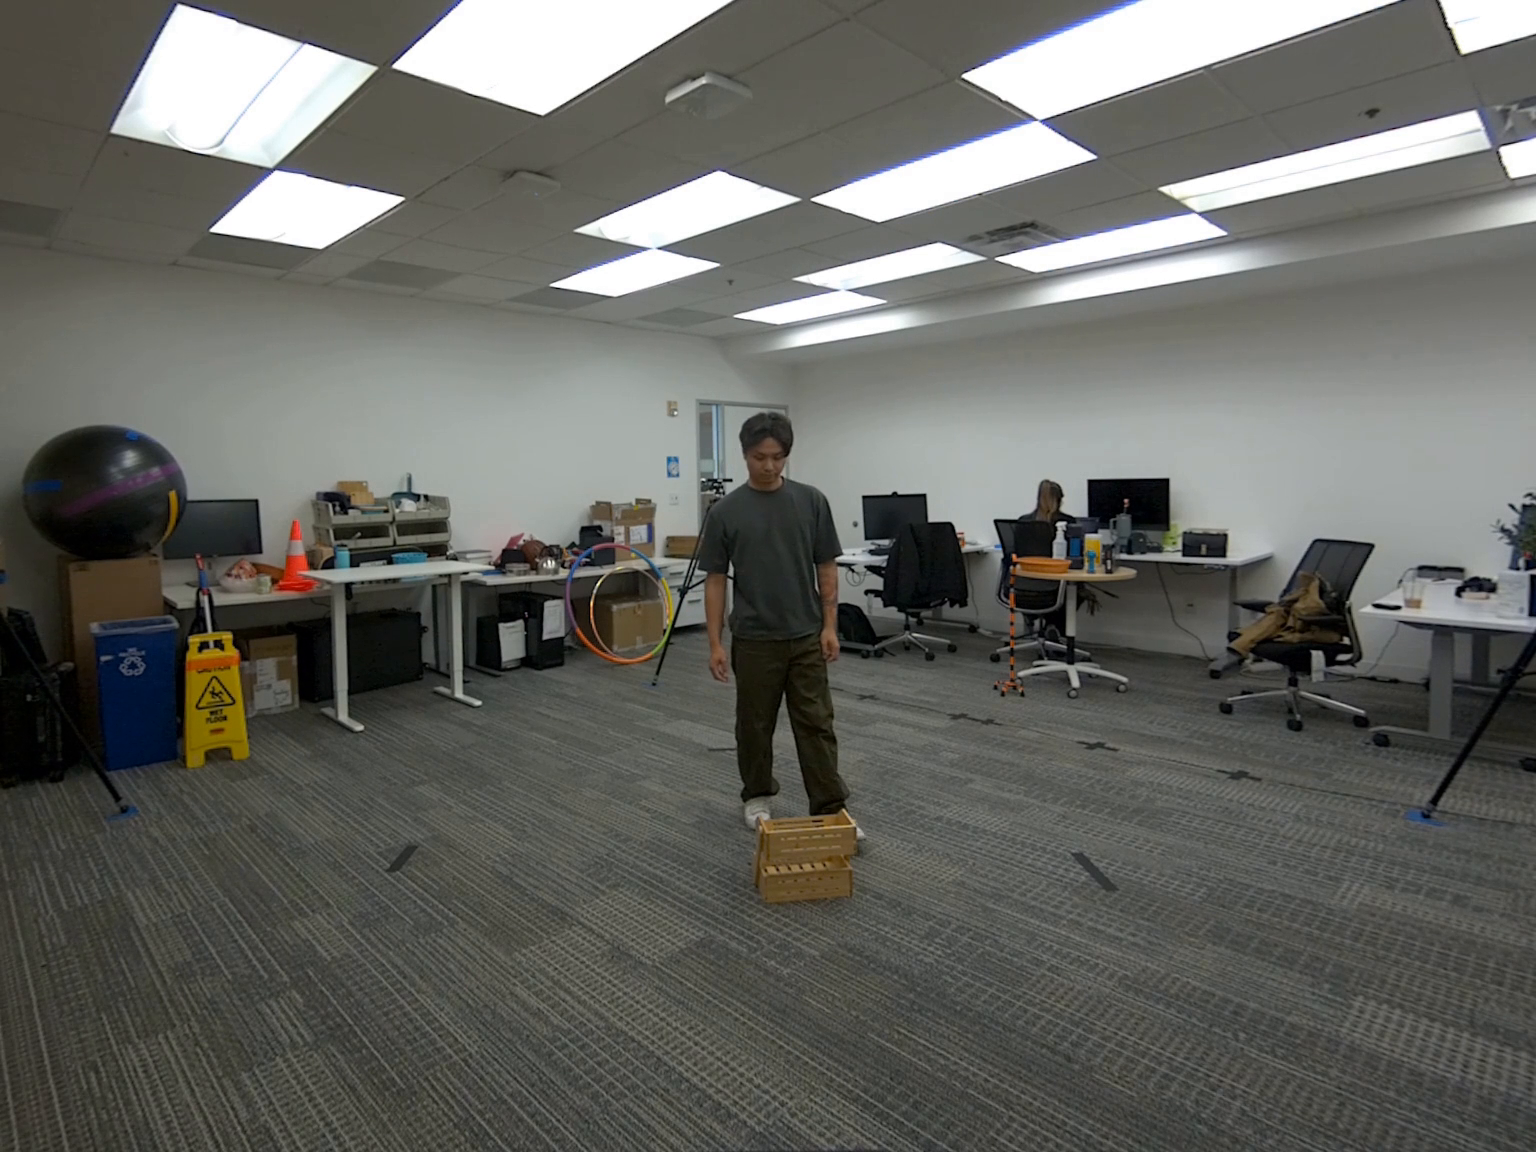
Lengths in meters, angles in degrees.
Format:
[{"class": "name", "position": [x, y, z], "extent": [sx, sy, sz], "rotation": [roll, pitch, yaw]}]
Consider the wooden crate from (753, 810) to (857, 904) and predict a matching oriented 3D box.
[{"class": "wooden crate", "position": [0.108, 0.941, 2.919], "extent": [0.322, 0.271, 0.306], "rotation": [-2, 7, -9]}]
